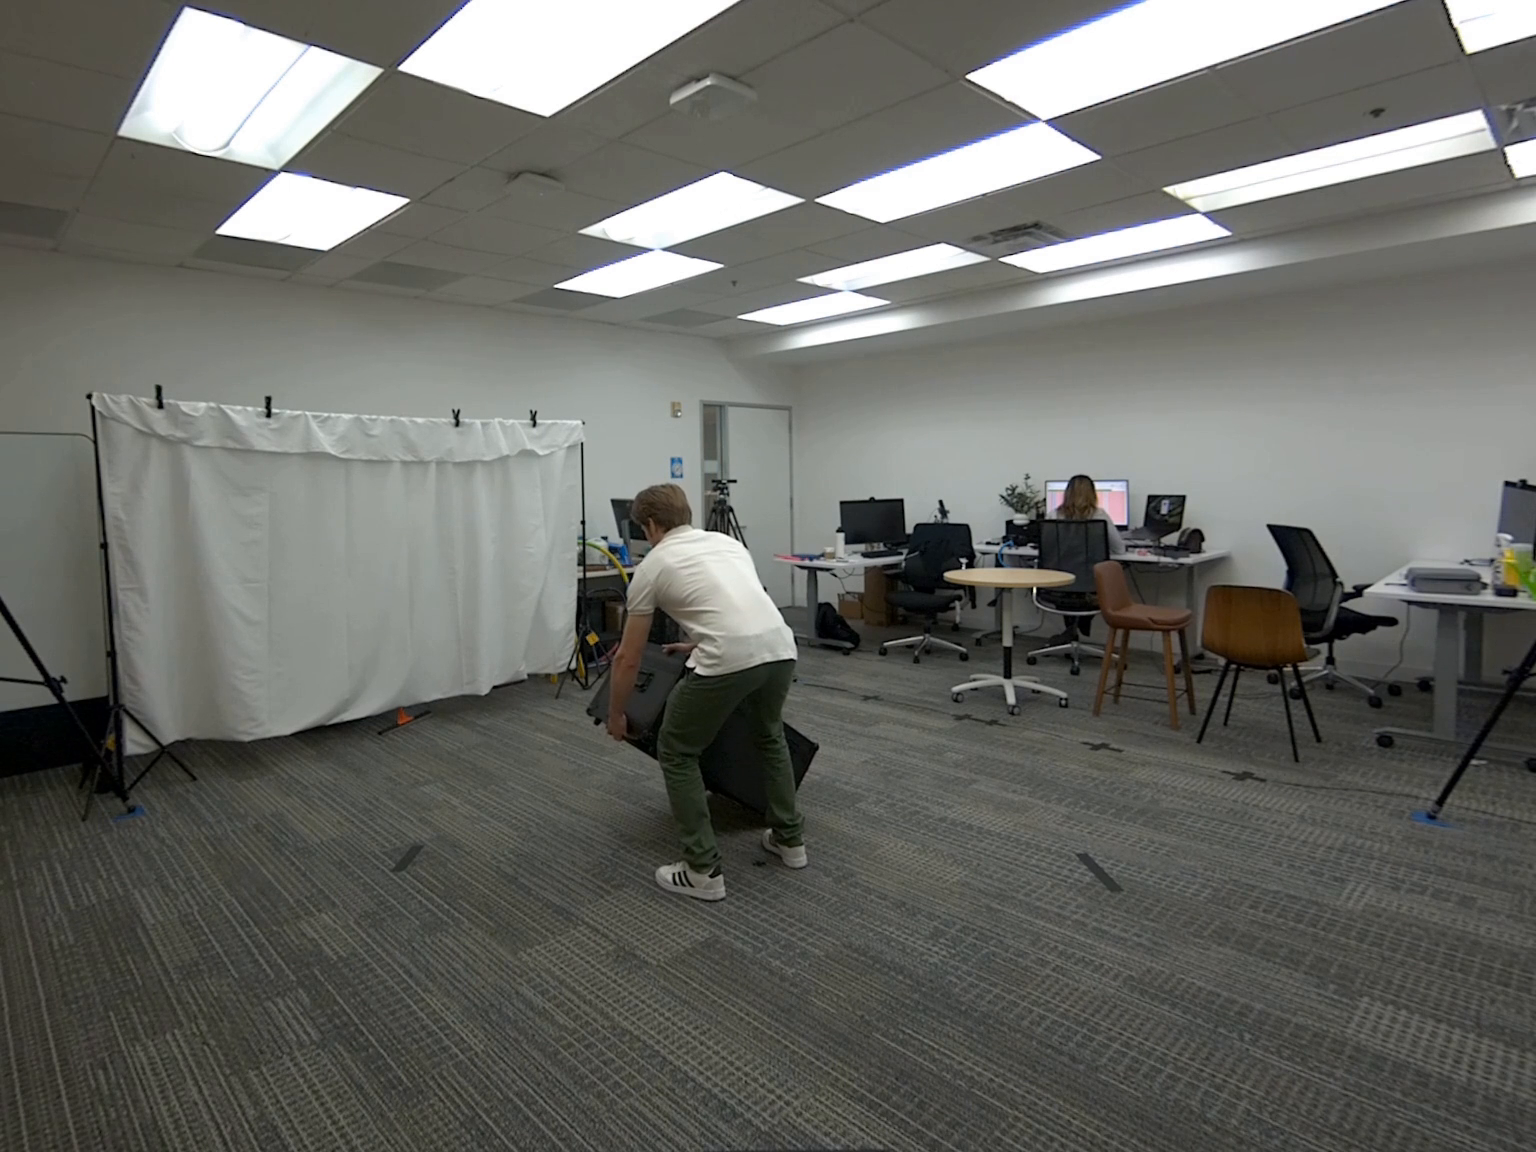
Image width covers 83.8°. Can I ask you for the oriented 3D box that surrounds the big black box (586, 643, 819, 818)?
[{"bbox_3d":[-0.239,0.656,3.528,0.839,0.387,0.539,40,-20,-31],"label":"big black box"}]
